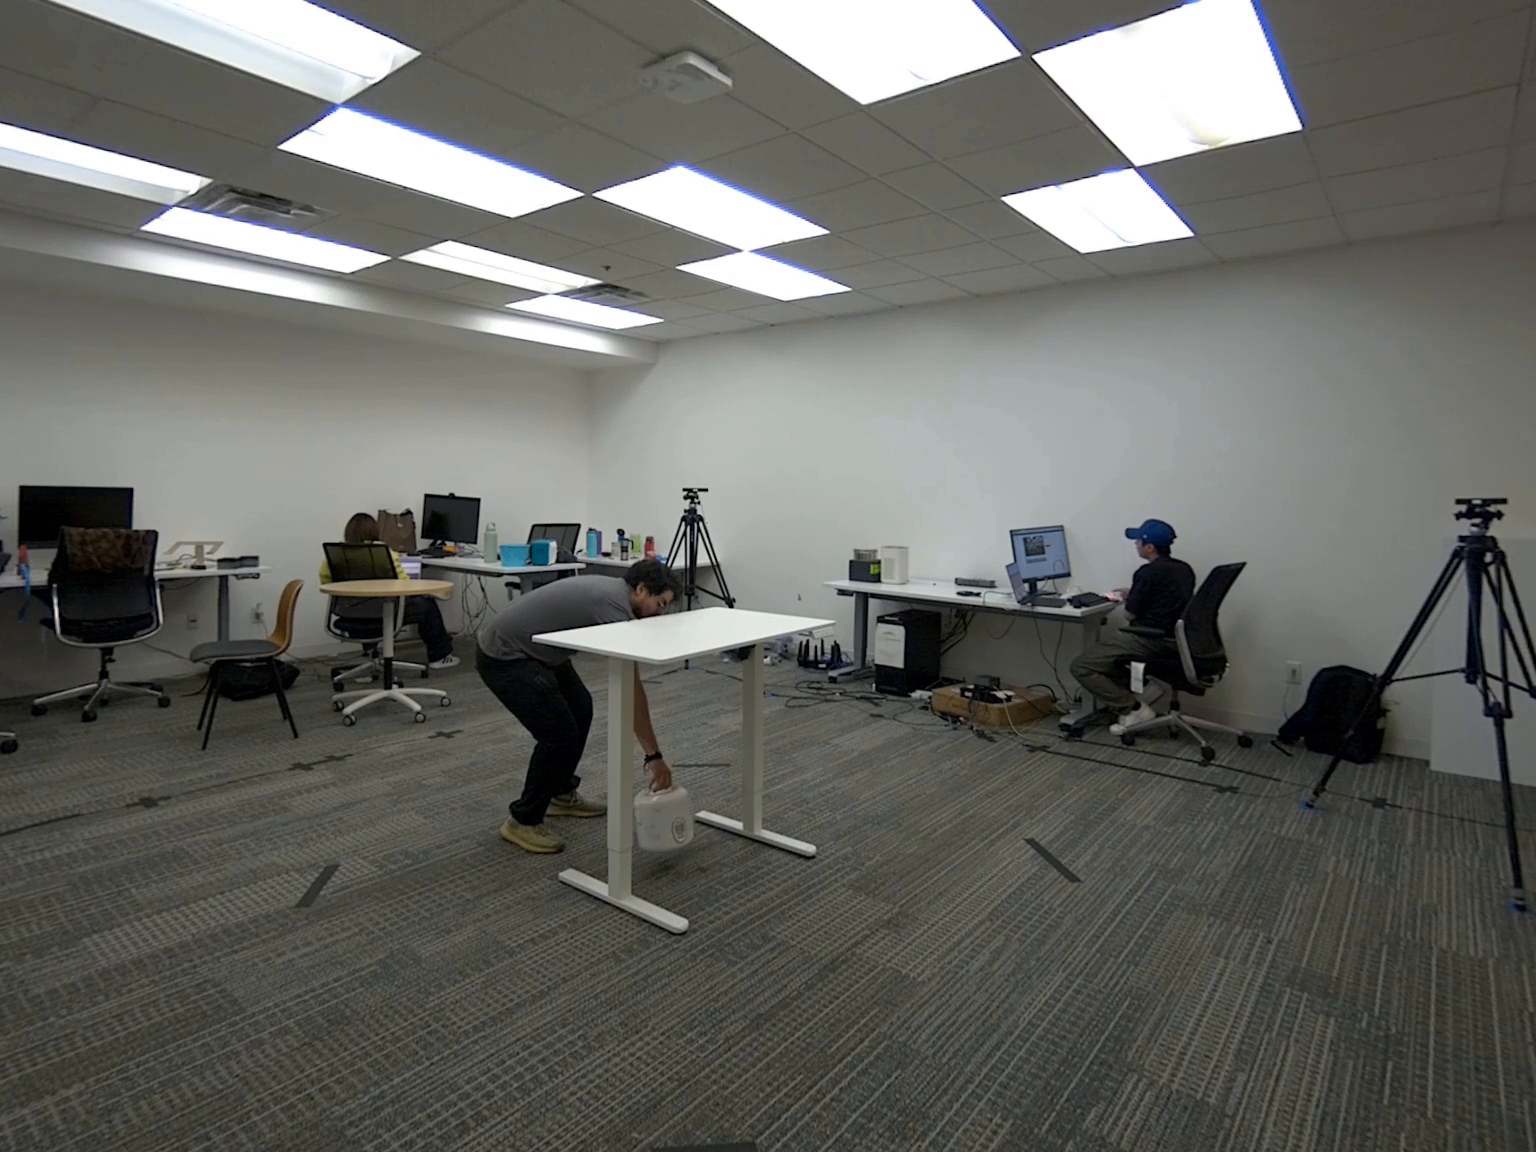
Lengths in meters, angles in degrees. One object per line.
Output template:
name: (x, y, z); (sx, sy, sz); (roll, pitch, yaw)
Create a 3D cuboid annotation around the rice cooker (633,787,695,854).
rice cooker: (-0.398, 0.876, 3.127); (0.215, 0.233, 0.223); (-6, -2, -36)
